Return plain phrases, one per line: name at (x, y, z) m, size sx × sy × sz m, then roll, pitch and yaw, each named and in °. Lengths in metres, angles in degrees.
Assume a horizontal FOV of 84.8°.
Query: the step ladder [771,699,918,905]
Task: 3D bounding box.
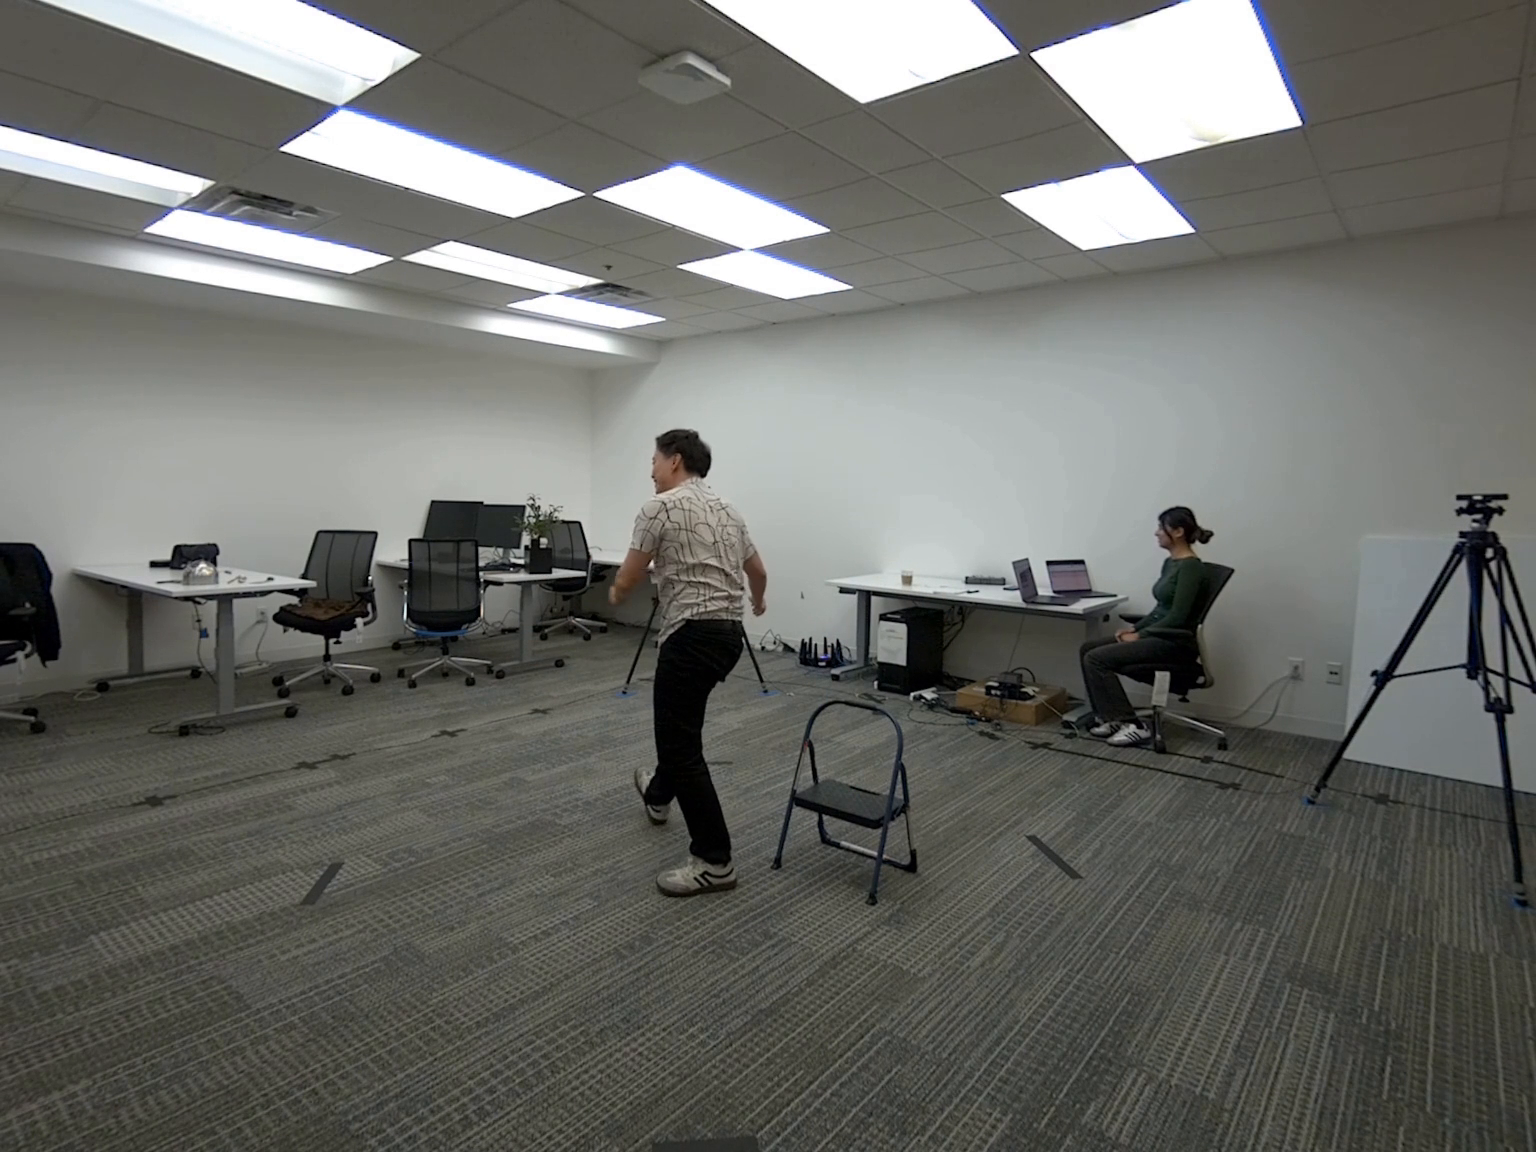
step ladder at (0.283, 0.771, 3.102) m, size 0.445 × 0.604 × 0.339 m, roll 4°, pitch 4°, yaw 37°
